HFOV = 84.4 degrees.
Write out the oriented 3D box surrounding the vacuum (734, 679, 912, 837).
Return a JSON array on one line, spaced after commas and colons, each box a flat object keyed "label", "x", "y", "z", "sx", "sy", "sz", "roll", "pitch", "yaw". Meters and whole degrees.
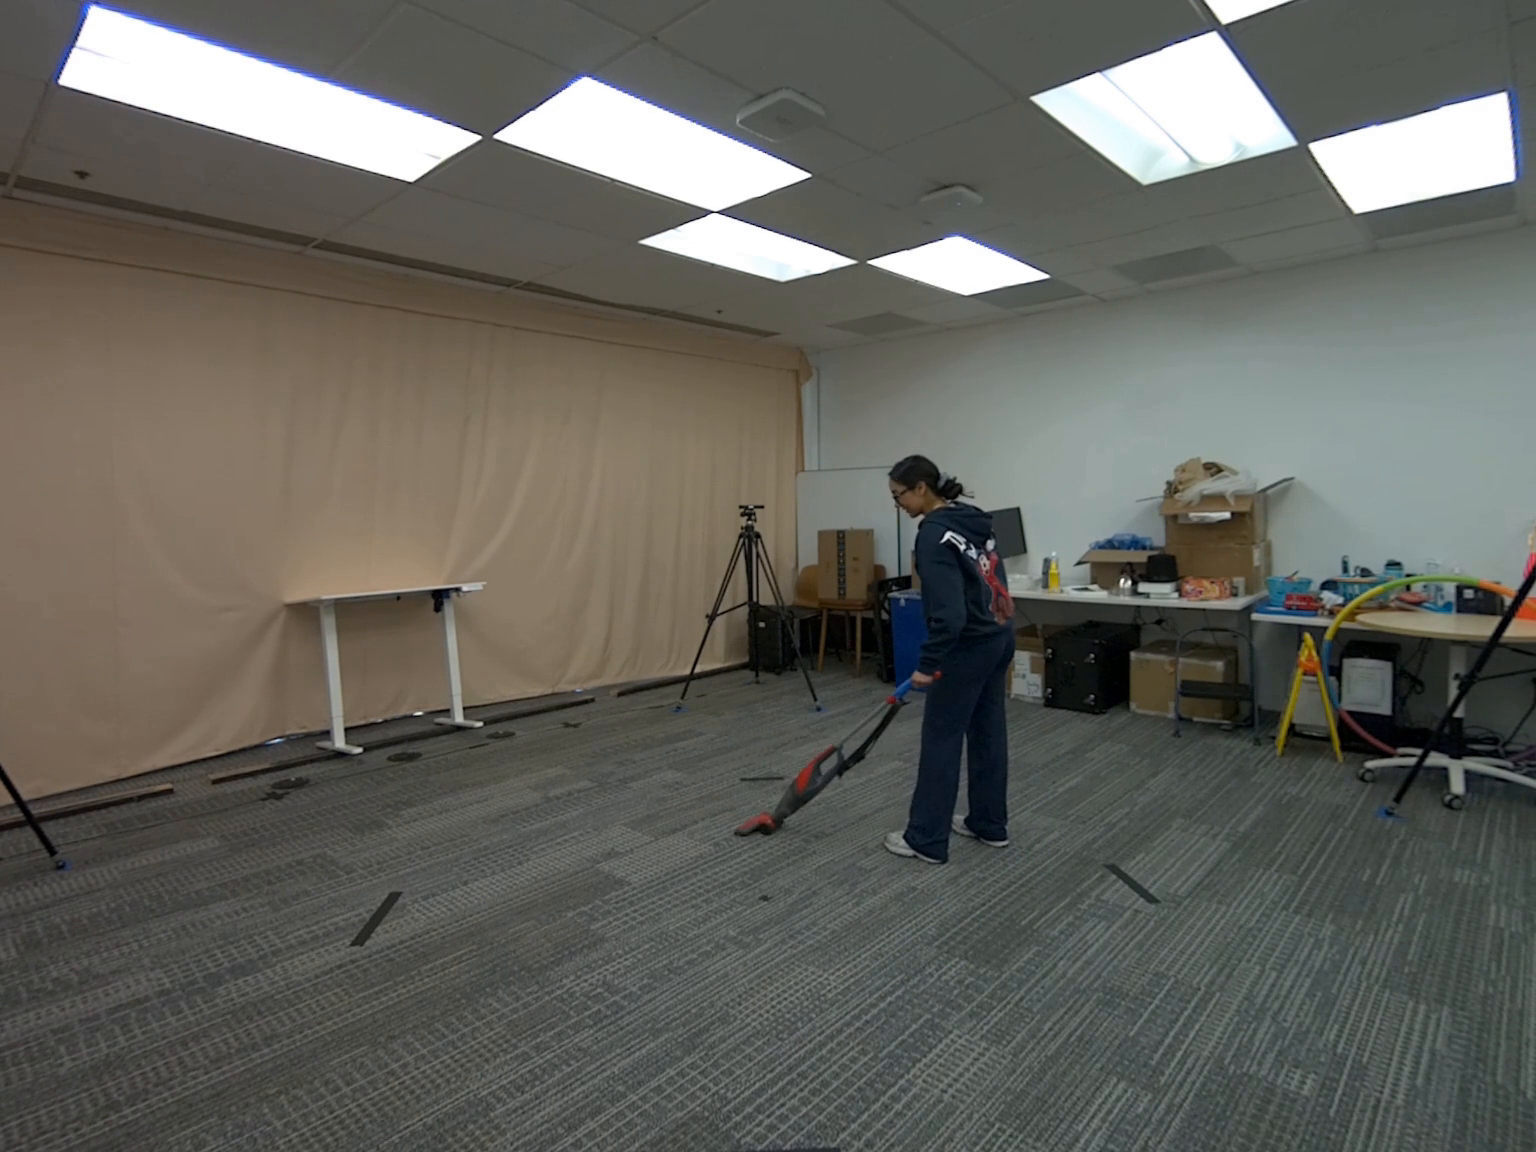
[{"label": "vacuum", "x": 0.299, "y": 0.734, "z": 3.430, "sx": 1.056, "sy": 0.145, "sz": 0.249, "roll": -45, "pitch": -6, "yaw": 23}]
